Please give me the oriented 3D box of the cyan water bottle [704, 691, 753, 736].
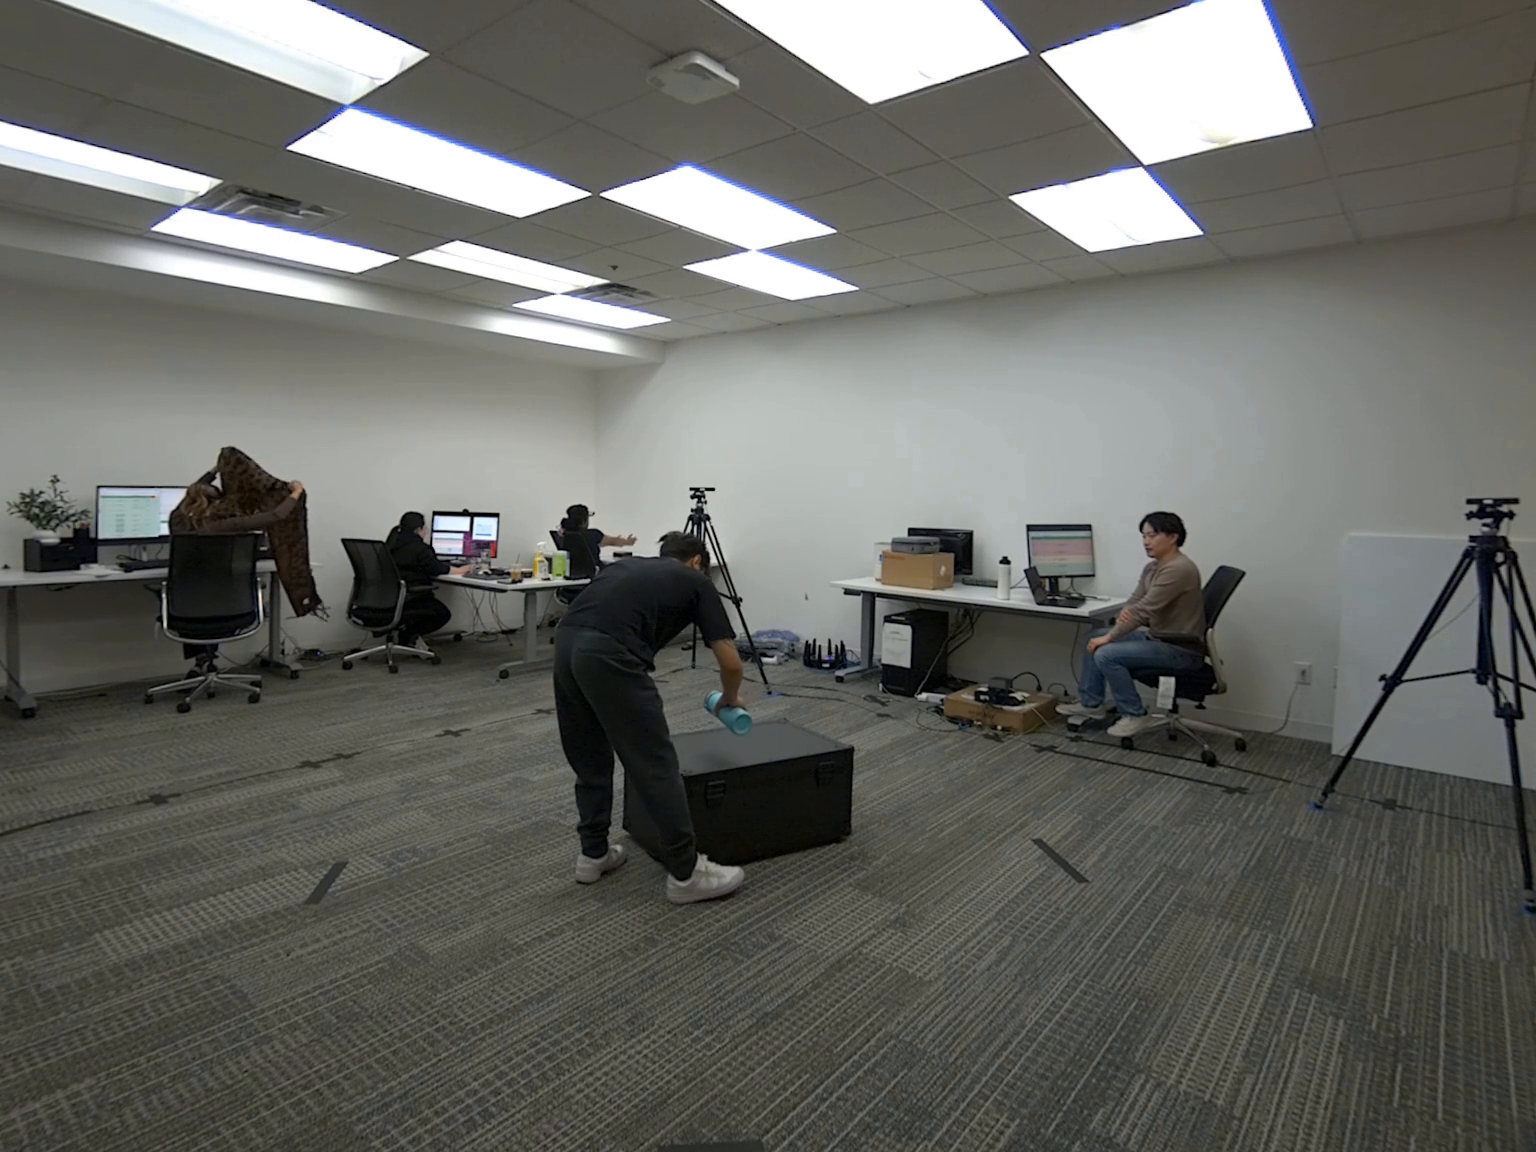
[{"bbox_3d":[-0.177,0.521,3.278,0.090,0.091,0.293,-1,13,-28],"label":"cyan water bottle"}]
